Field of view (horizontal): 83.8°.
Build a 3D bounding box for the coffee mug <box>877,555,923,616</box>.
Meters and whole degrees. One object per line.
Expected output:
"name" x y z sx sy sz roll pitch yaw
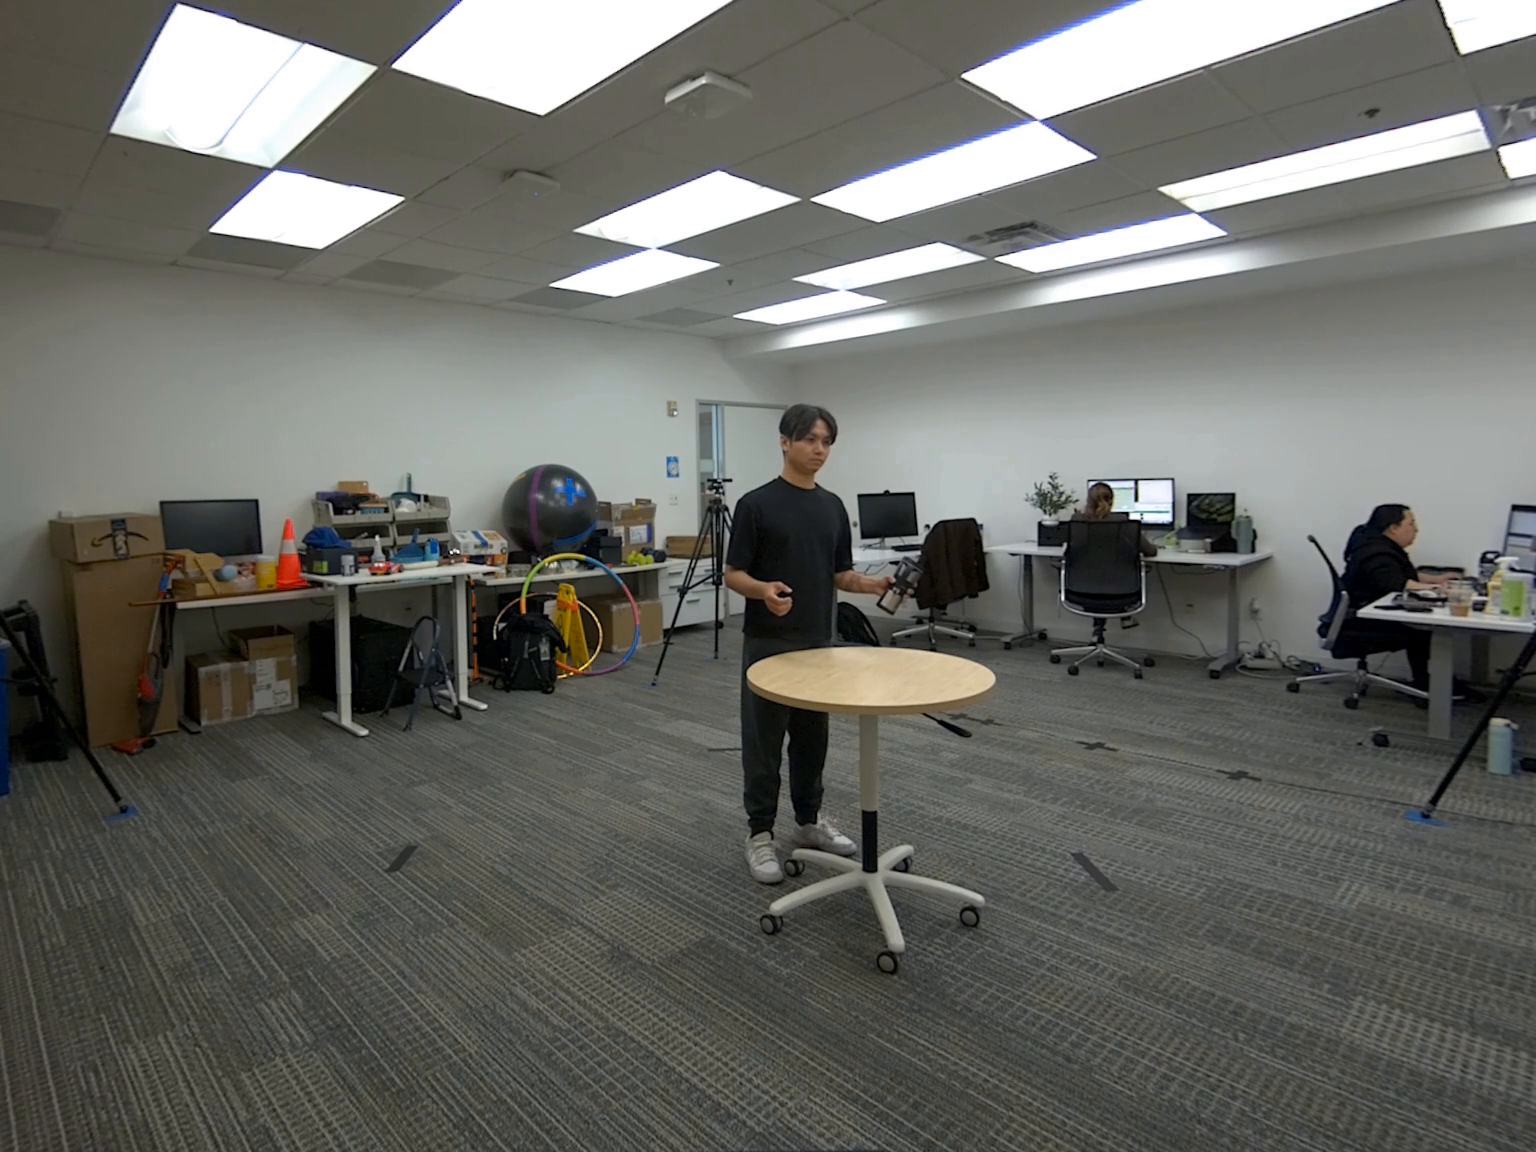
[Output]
"coffee mug" 0.450 0.033 3.017 0.088 0.203 0.121 33 -8 4
